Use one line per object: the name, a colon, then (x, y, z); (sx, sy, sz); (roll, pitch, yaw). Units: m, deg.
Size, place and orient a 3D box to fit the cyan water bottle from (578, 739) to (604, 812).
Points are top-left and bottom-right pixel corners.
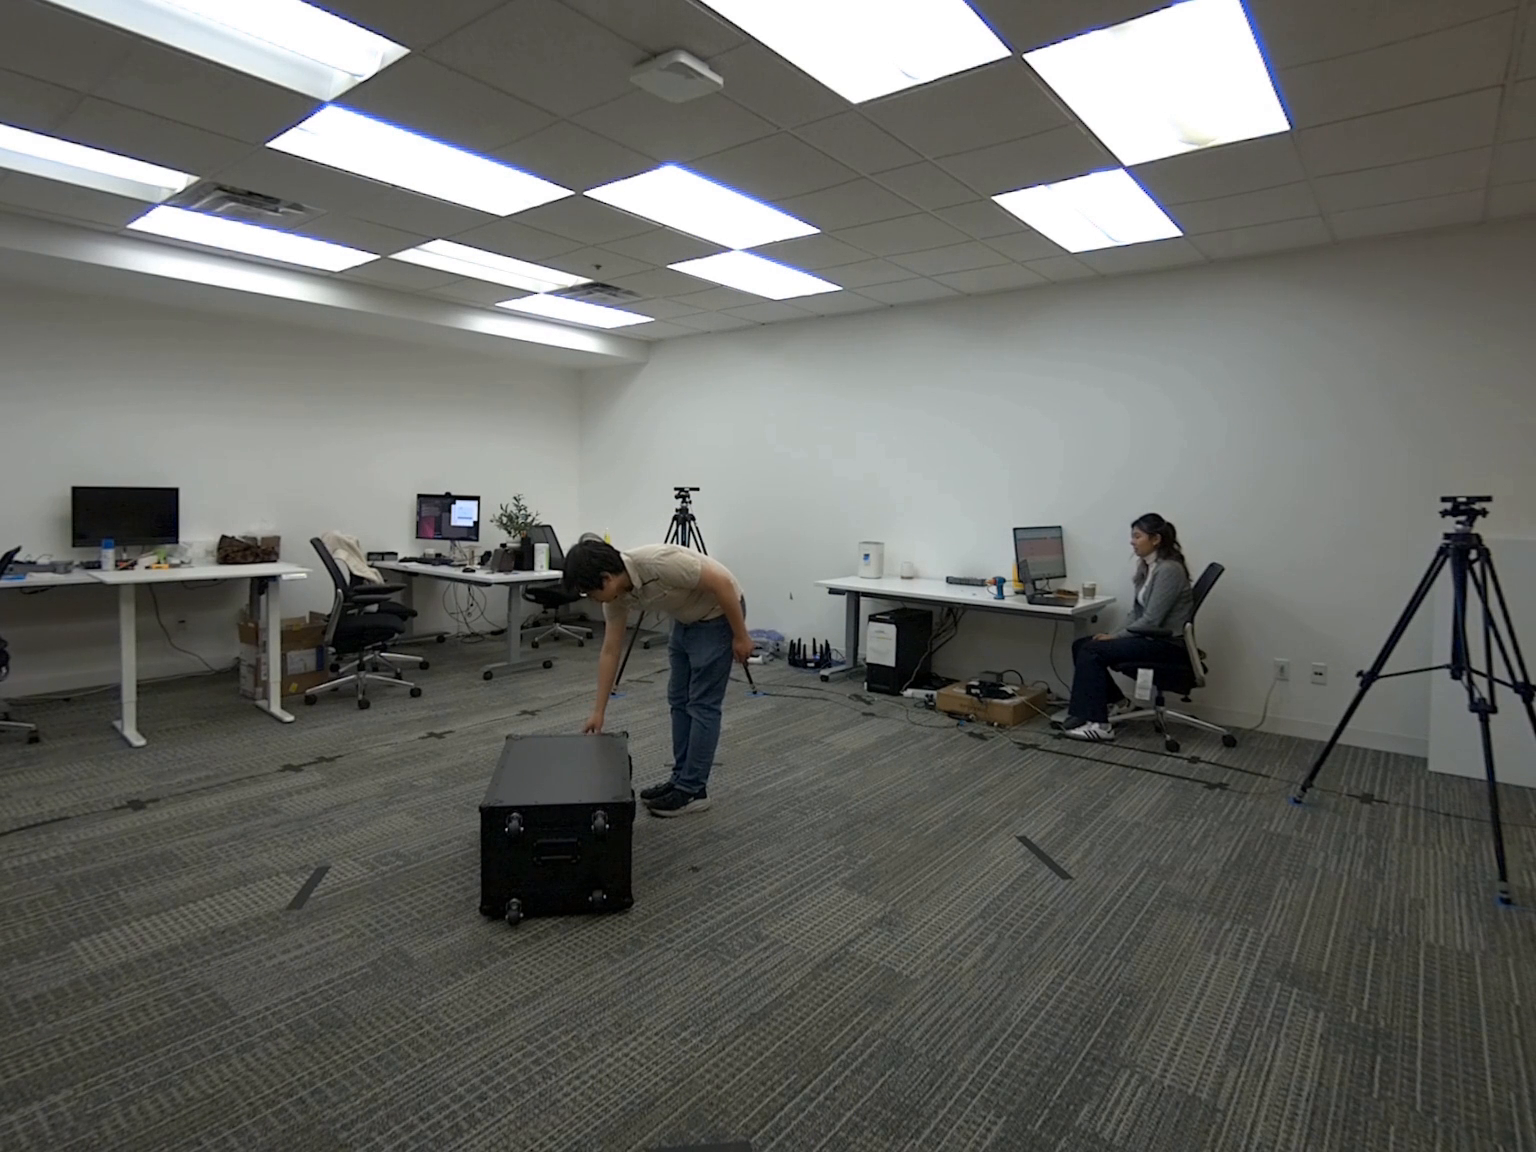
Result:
cyan water bottle: (-0.769, 0.859, 3.634); (0.092, 0.282, 0.093); (0, 4, -2)
